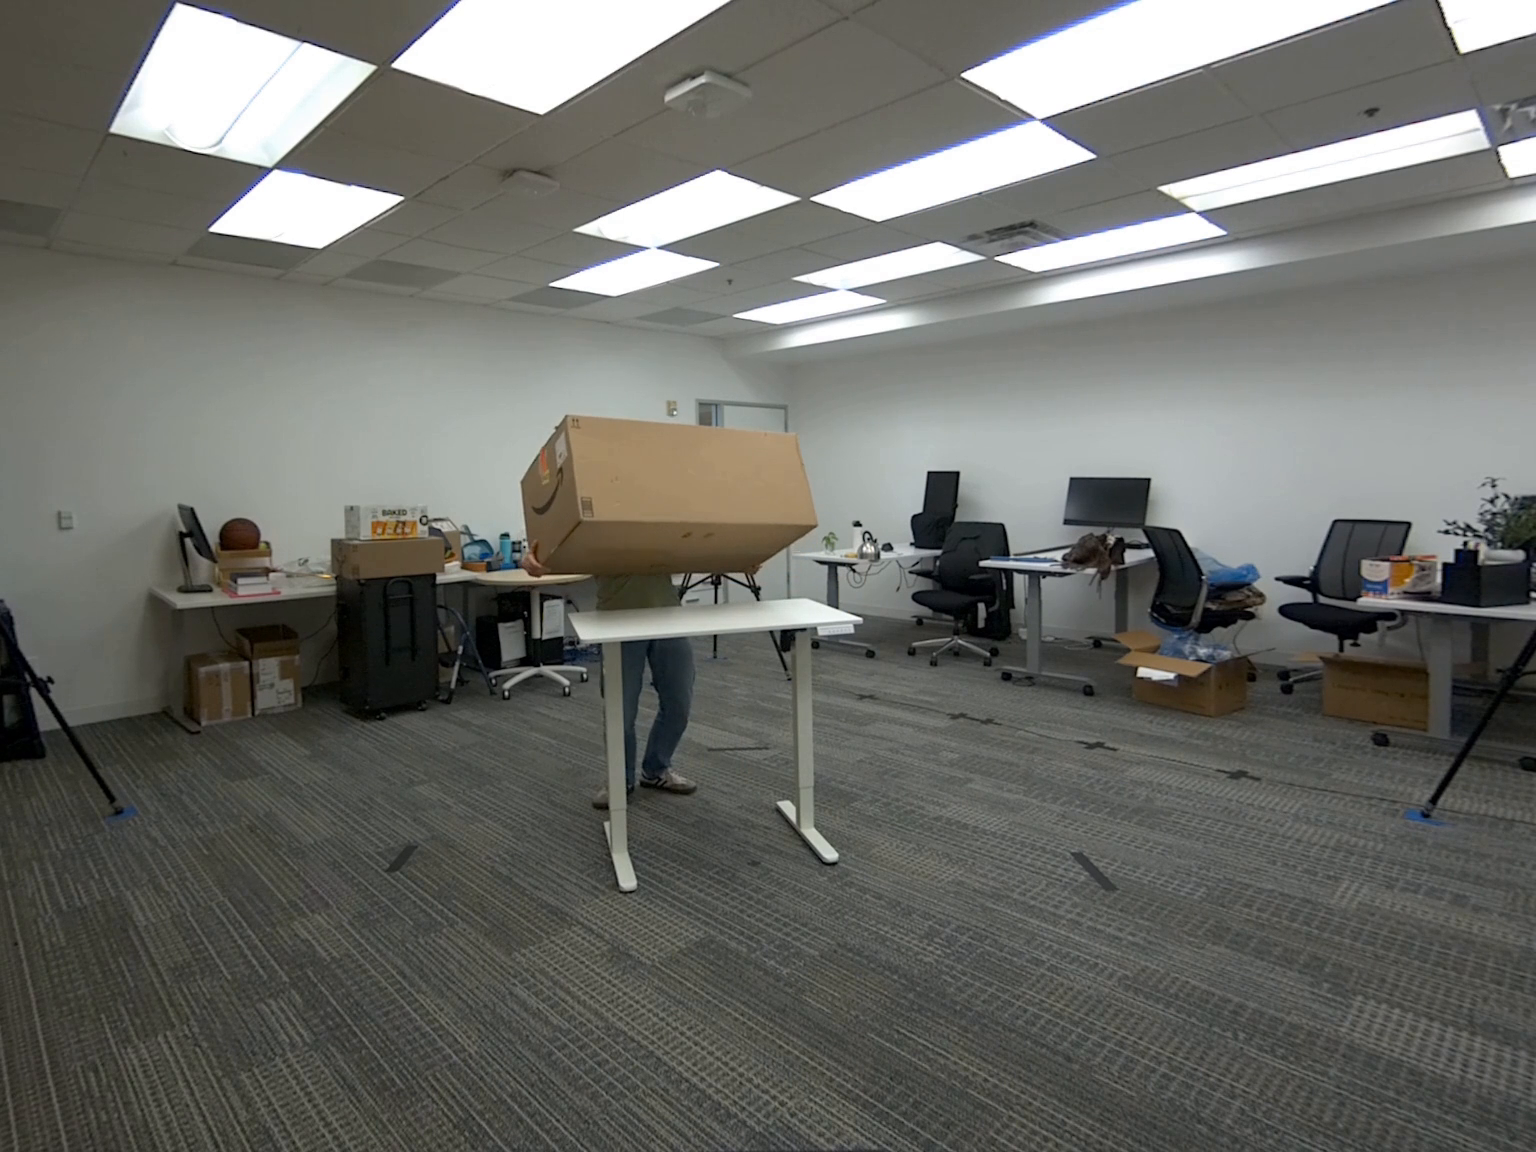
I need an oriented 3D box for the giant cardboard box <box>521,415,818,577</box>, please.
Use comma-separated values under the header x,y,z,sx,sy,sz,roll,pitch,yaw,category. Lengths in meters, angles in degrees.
x,y,z,sx,sy,sz,roll,pitch,yaw,category
-0.415,-0.299,3.491,1.000,0.435,0.581,-1,-20,-31,giant cardboard box
